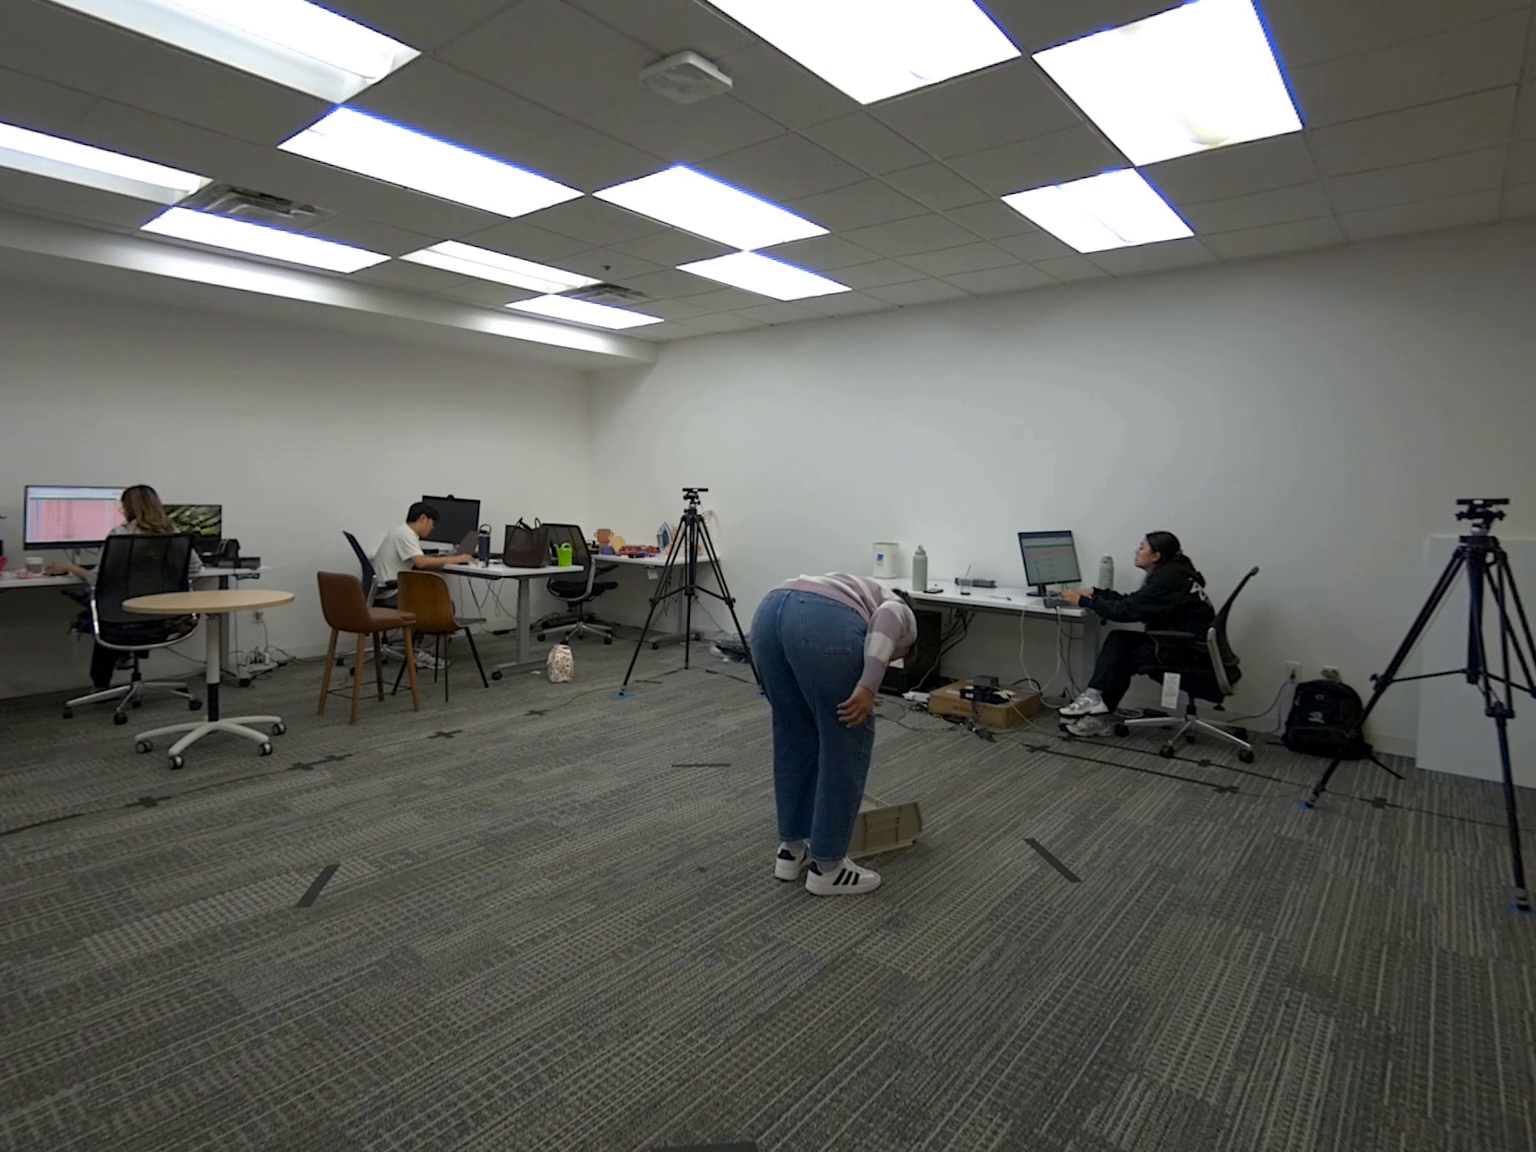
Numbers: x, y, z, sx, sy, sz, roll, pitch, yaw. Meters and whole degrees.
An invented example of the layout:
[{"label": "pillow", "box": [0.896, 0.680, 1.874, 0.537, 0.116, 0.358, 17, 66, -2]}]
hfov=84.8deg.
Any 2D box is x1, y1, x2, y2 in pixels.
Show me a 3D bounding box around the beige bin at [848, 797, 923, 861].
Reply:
[{"label": "beige bin", "box": [0.341, 0.953, 3.474, 0.367, 0.188, 0.436, -4, 8, -31]}]
